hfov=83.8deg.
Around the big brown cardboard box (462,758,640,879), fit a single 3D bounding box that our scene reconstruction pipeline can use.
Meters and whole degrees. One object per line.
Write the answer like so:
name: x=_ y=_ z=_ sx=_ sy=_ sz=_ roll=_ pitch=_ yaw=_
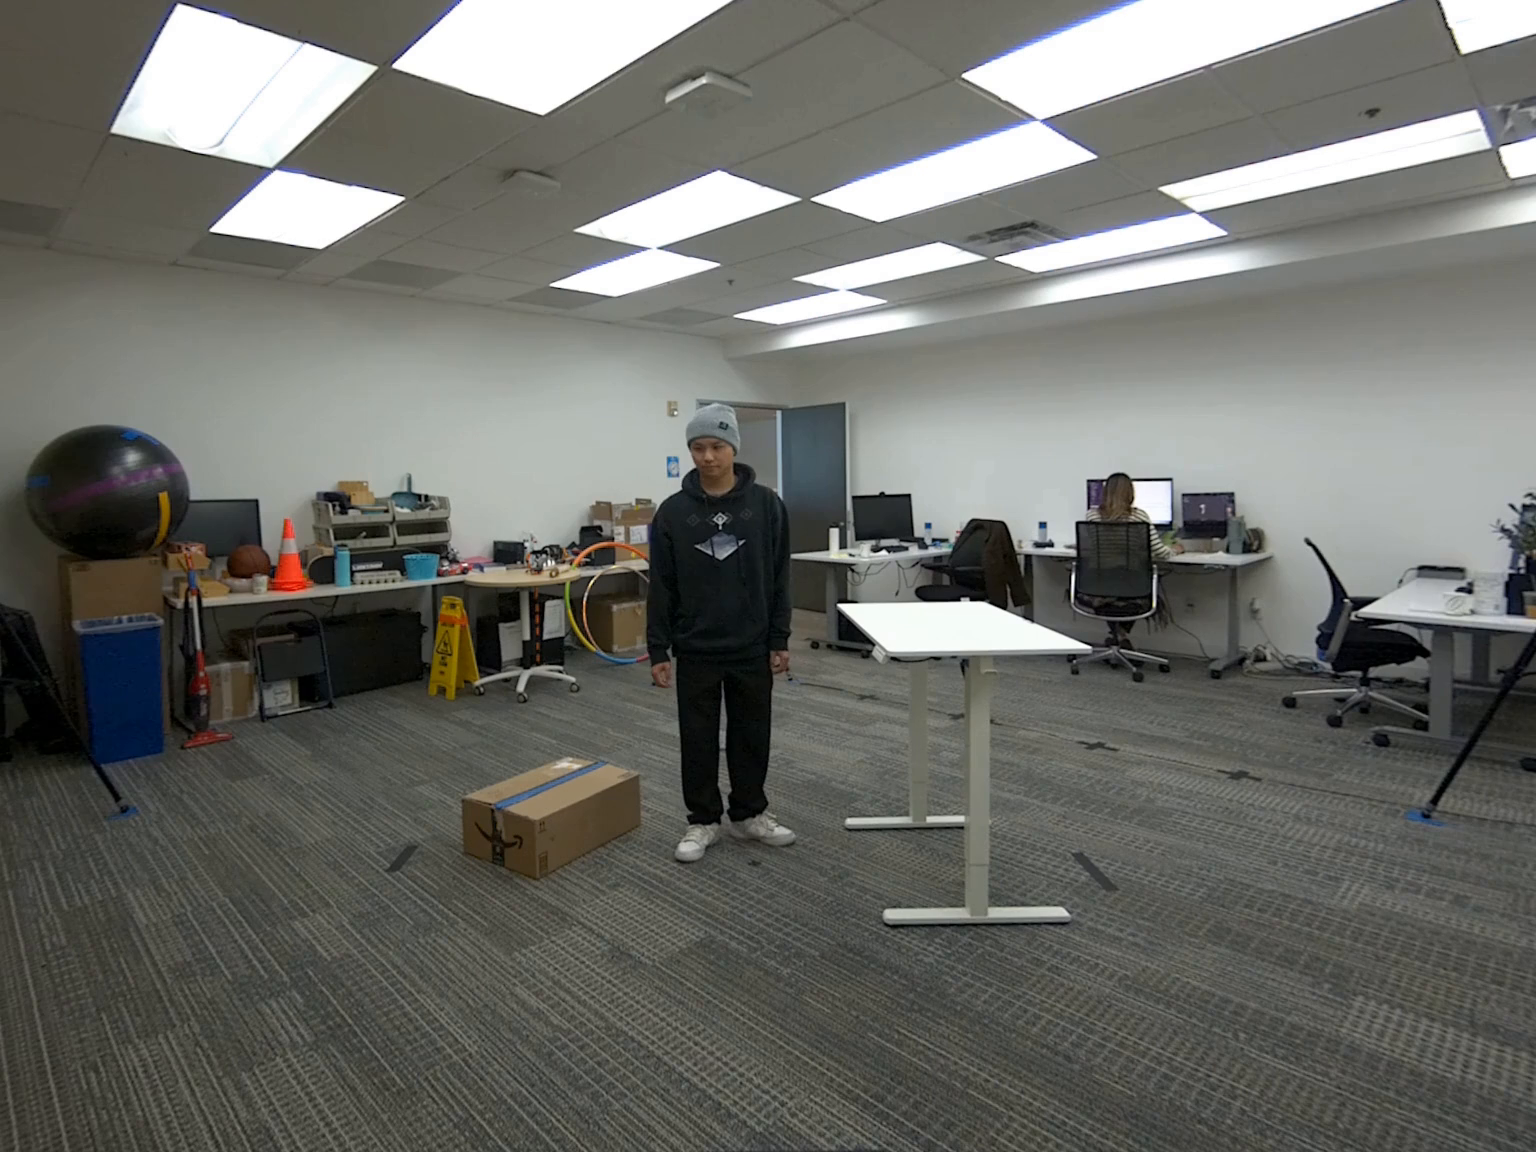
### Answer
big brown cardboard box: x=-0.833 y=0.921 z=3.353 sx=0.429 sy=0.232 sz=0.576 roll=2 pitch=8 yaw=33
